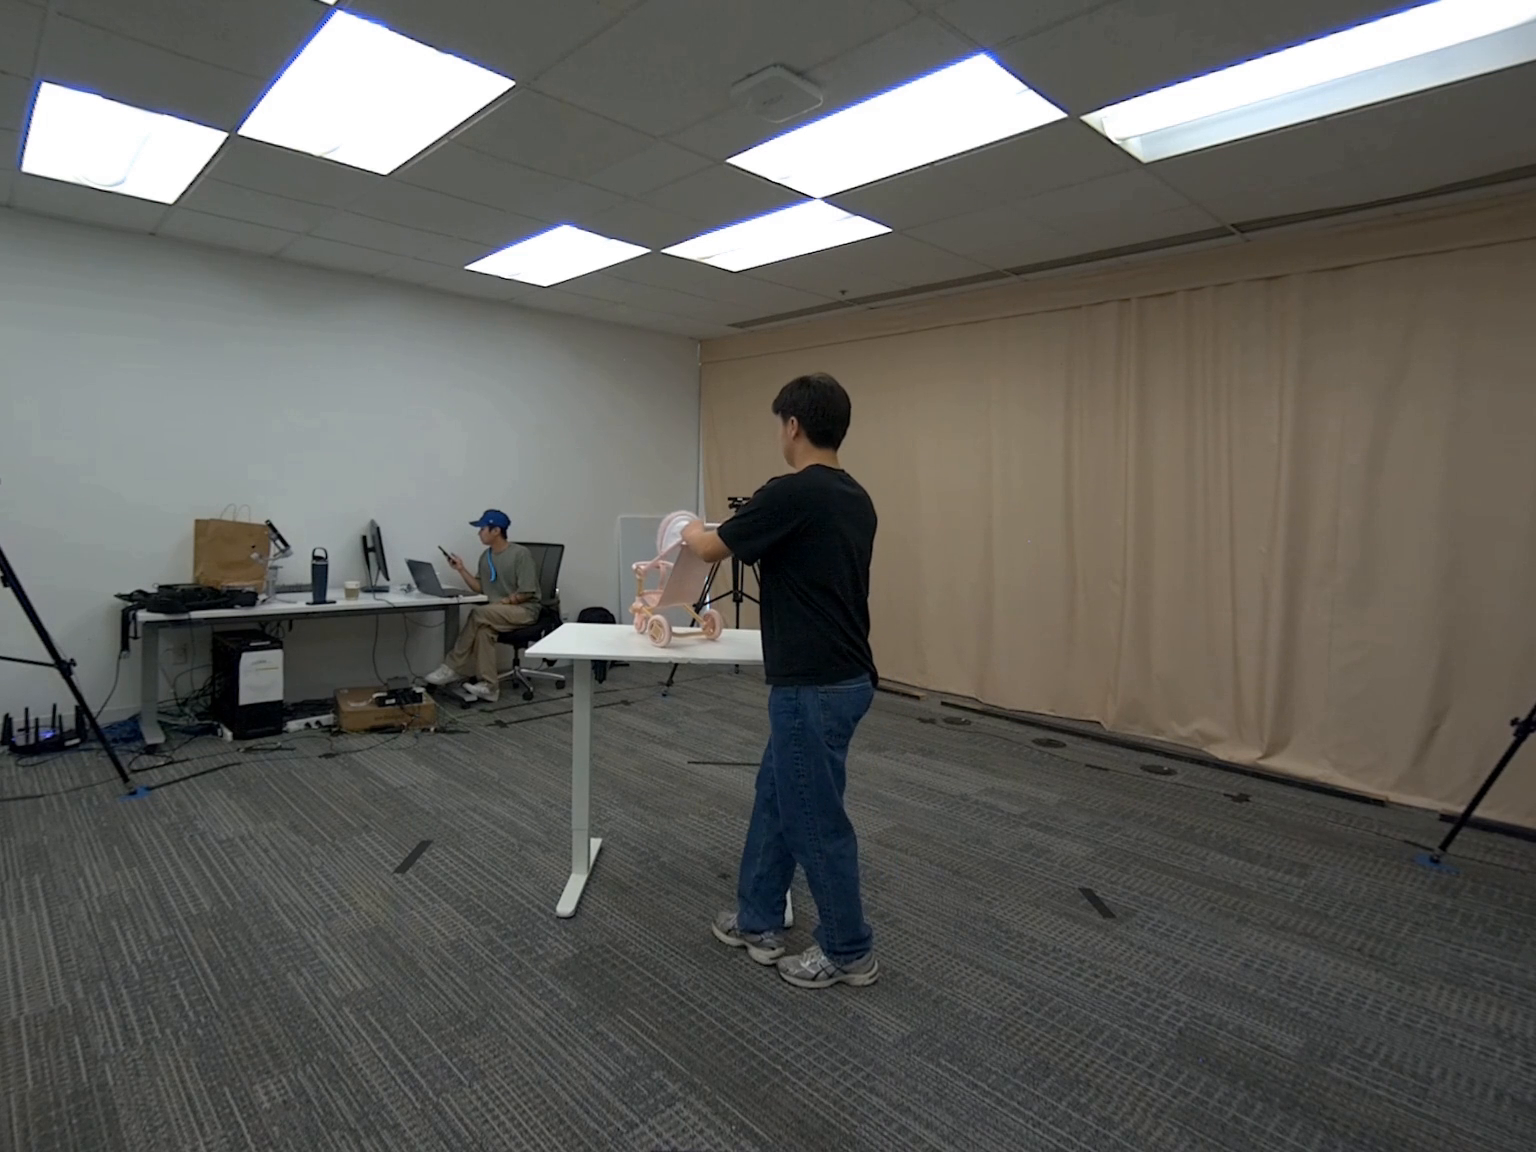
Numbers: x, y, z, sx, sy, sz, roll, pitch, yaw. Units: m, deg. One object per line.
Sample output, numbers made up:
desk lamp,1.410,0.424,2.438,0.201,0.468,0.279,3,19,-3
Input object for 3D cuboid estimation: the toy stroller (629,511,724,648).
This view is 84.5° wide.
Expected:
toy stroller,-0.328,0.010,2.965,0.275,0.530,0.352,-1,21,-42
